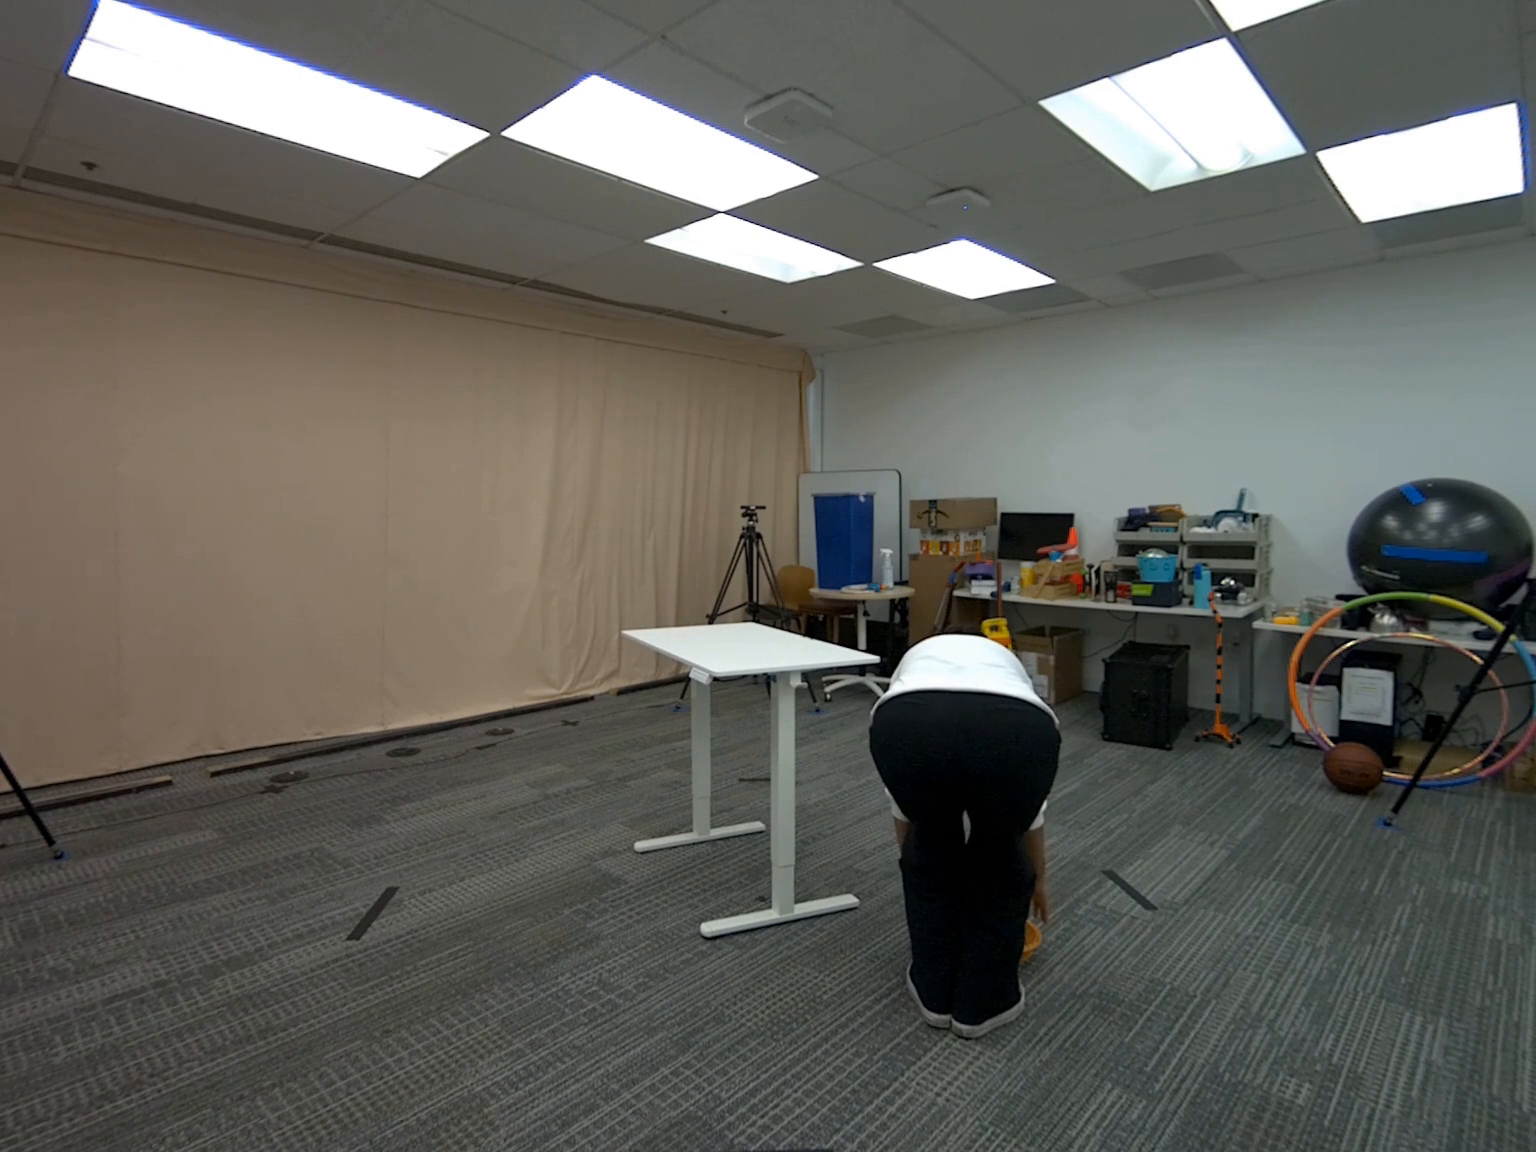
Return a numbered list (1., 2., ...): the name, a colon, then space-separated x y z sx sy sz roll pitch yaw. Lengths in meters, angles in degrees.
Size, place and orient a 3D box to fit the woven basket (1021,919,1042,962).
1. woven basket: 0.682 1.130 2.628 0.352 0.073 0.252 1 6 4
